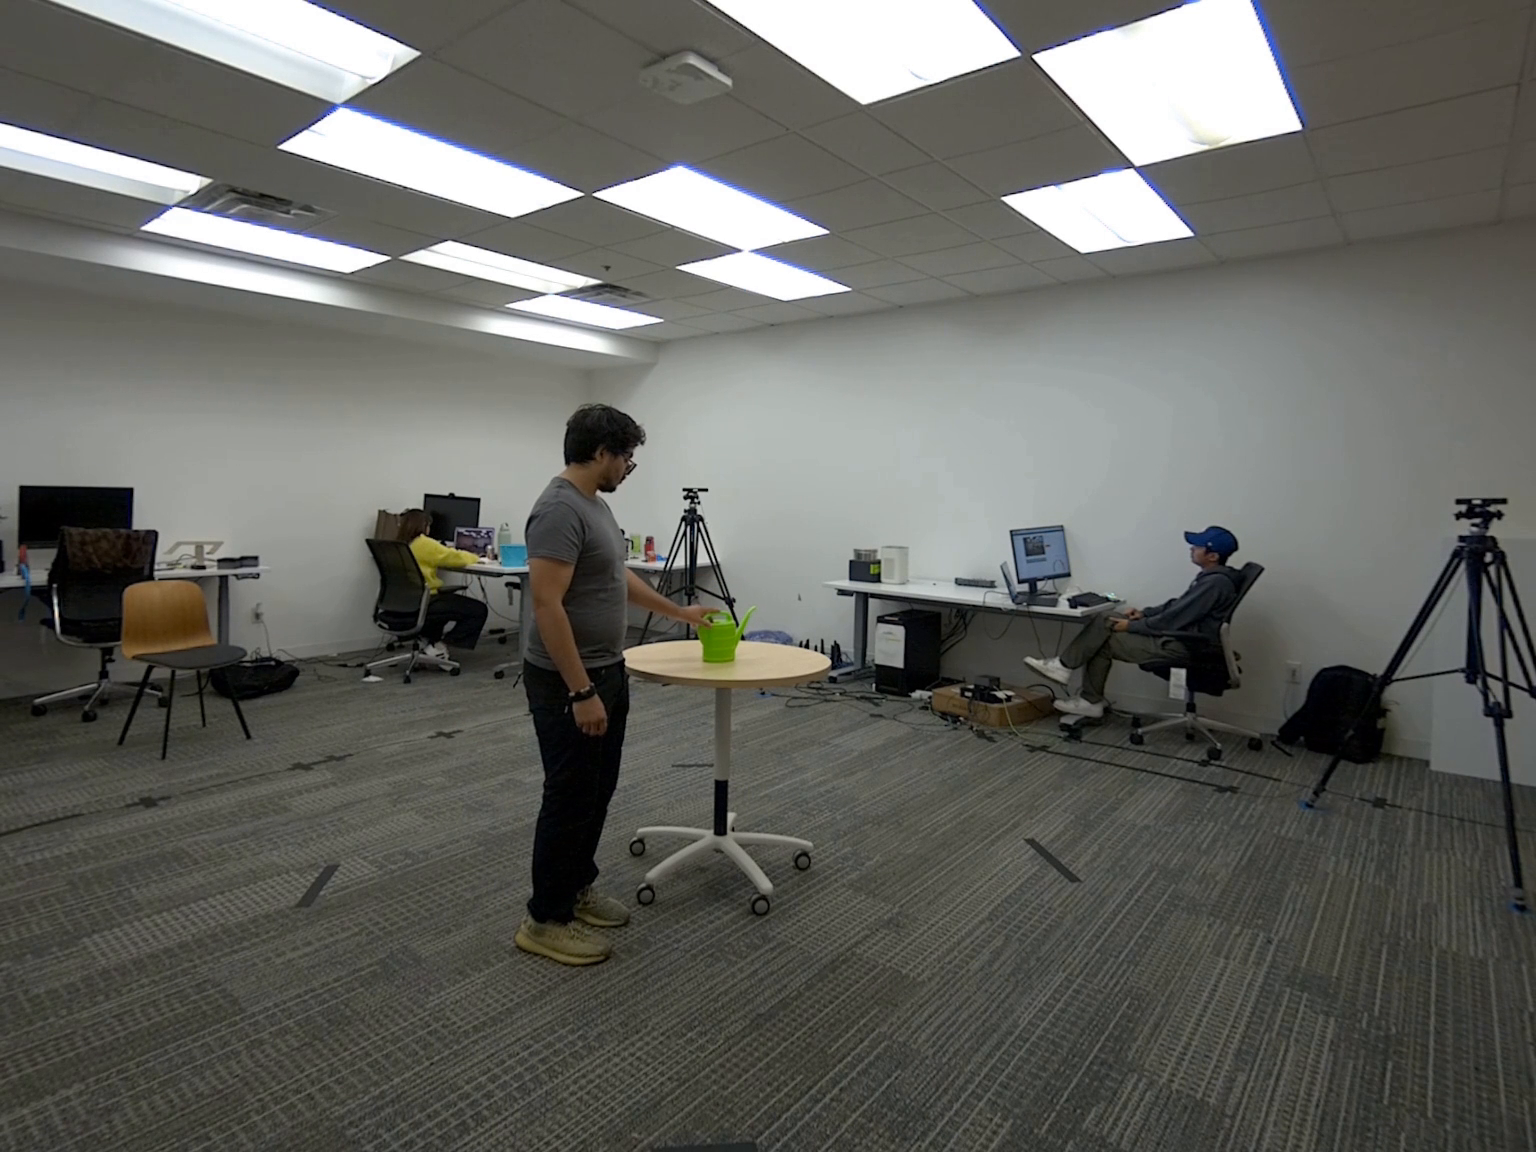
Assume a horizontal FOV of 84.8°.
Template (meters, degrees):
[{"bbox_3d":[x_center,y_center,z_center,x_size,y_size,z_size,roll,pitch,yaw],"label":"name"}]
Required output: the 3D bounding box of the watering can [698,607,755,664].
[{"bbox_3d":[-0.147,0.209,3.034,0.271,0.176,0.101,-4,5,-27],"label":"watering can"}]
